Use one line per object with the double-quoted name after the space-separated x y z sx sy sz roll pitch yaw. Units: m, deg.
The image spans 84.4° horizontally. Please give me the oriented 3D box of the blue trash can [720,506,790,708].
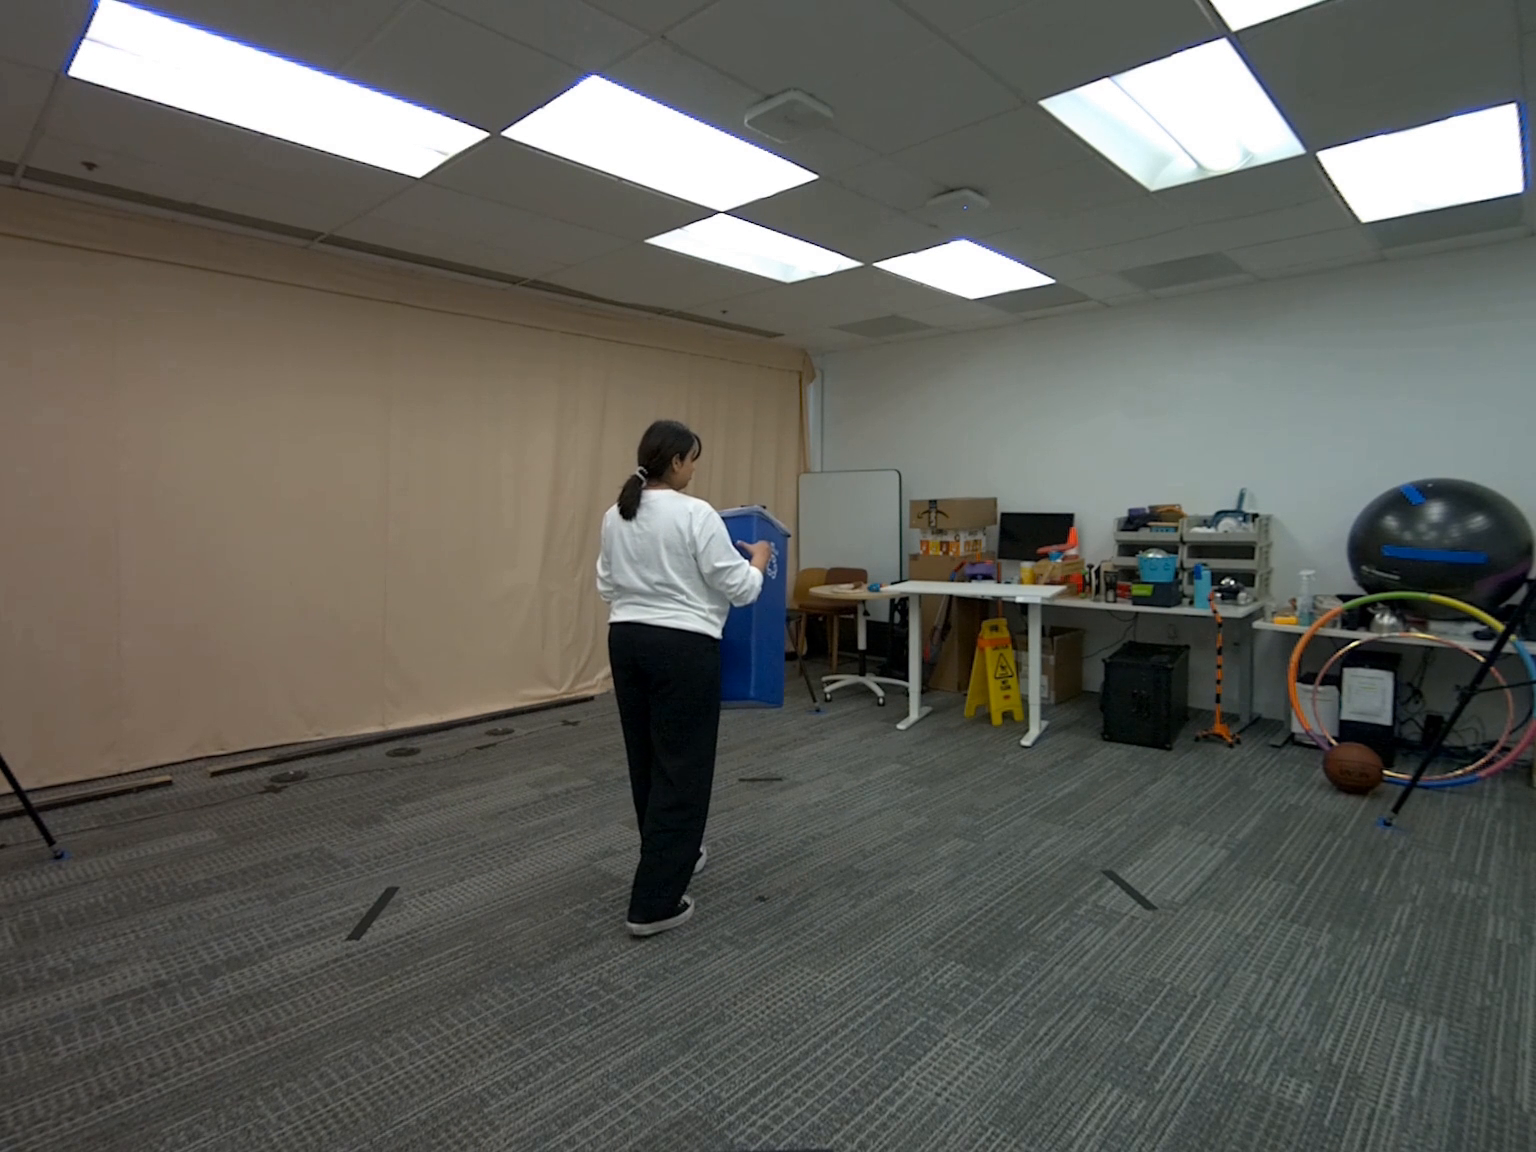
-0.131 0.138 3.267 0.386 0.720 0.363 -6 -16 22 "blue trash can"
